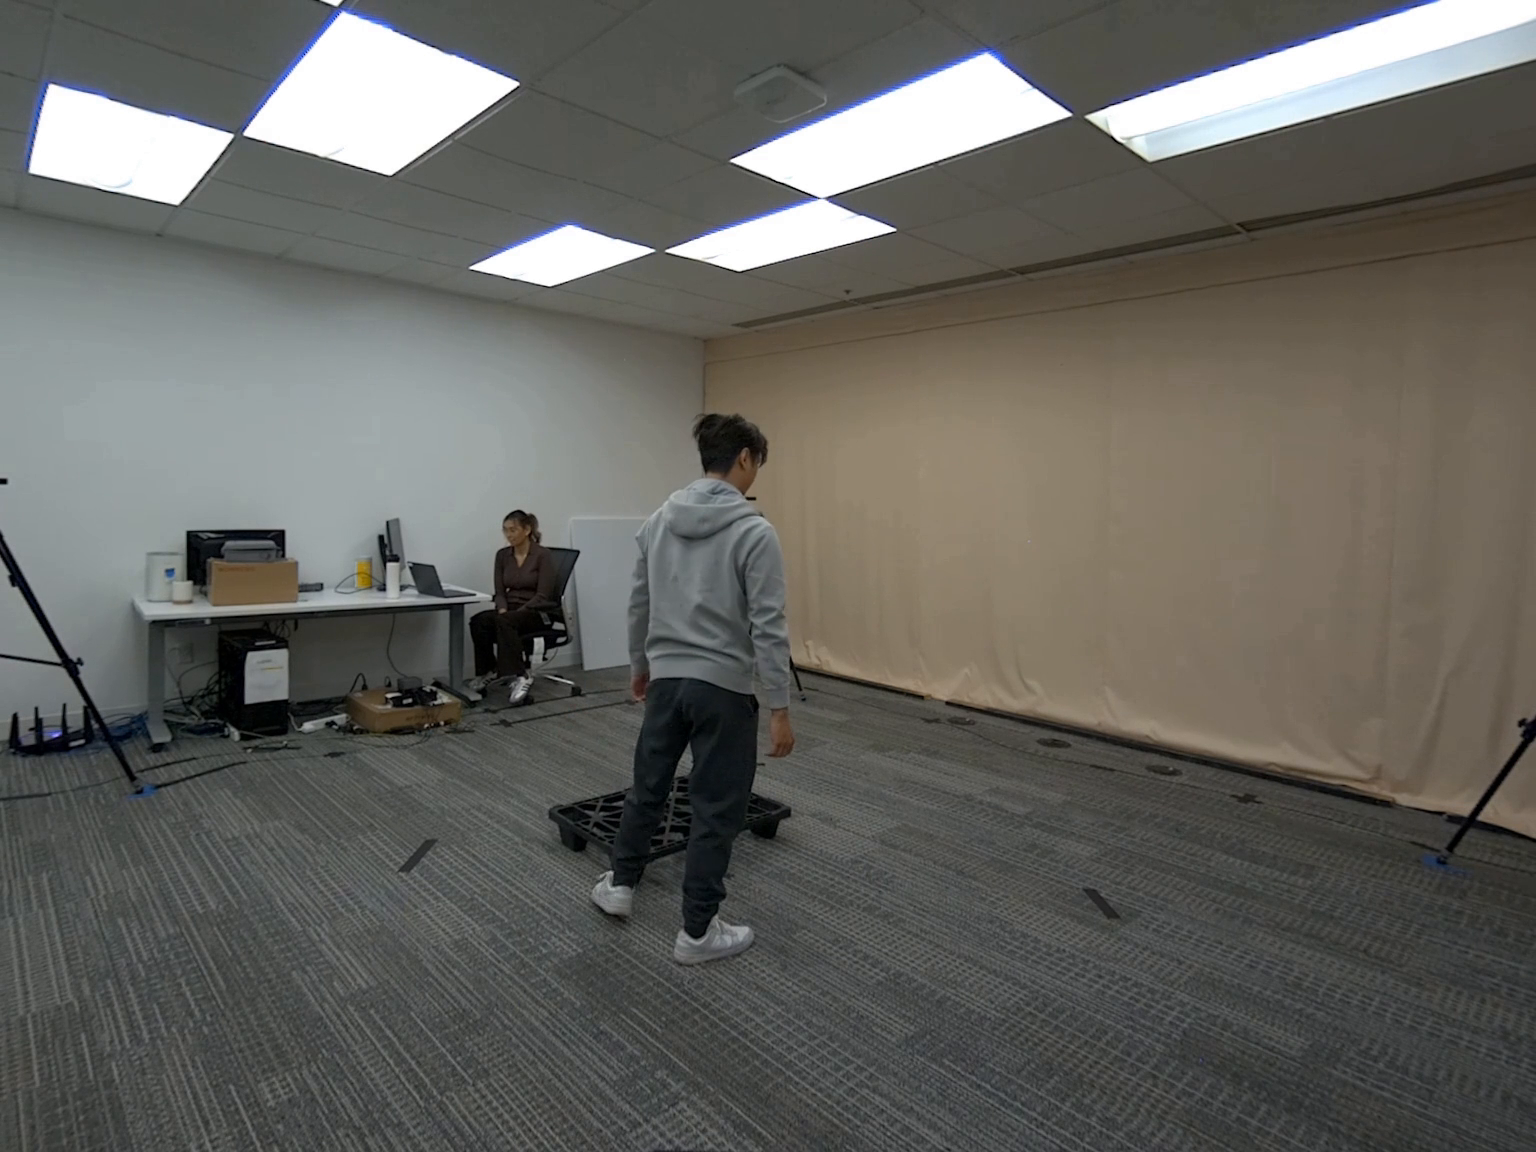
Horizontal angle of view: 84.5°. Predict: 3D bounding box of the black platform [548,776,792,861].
[{"bbox_3d":[-0.392,1.010,3.408,0.787,0.143,0.621,-3,7,-42],"label":"black platform"}]
